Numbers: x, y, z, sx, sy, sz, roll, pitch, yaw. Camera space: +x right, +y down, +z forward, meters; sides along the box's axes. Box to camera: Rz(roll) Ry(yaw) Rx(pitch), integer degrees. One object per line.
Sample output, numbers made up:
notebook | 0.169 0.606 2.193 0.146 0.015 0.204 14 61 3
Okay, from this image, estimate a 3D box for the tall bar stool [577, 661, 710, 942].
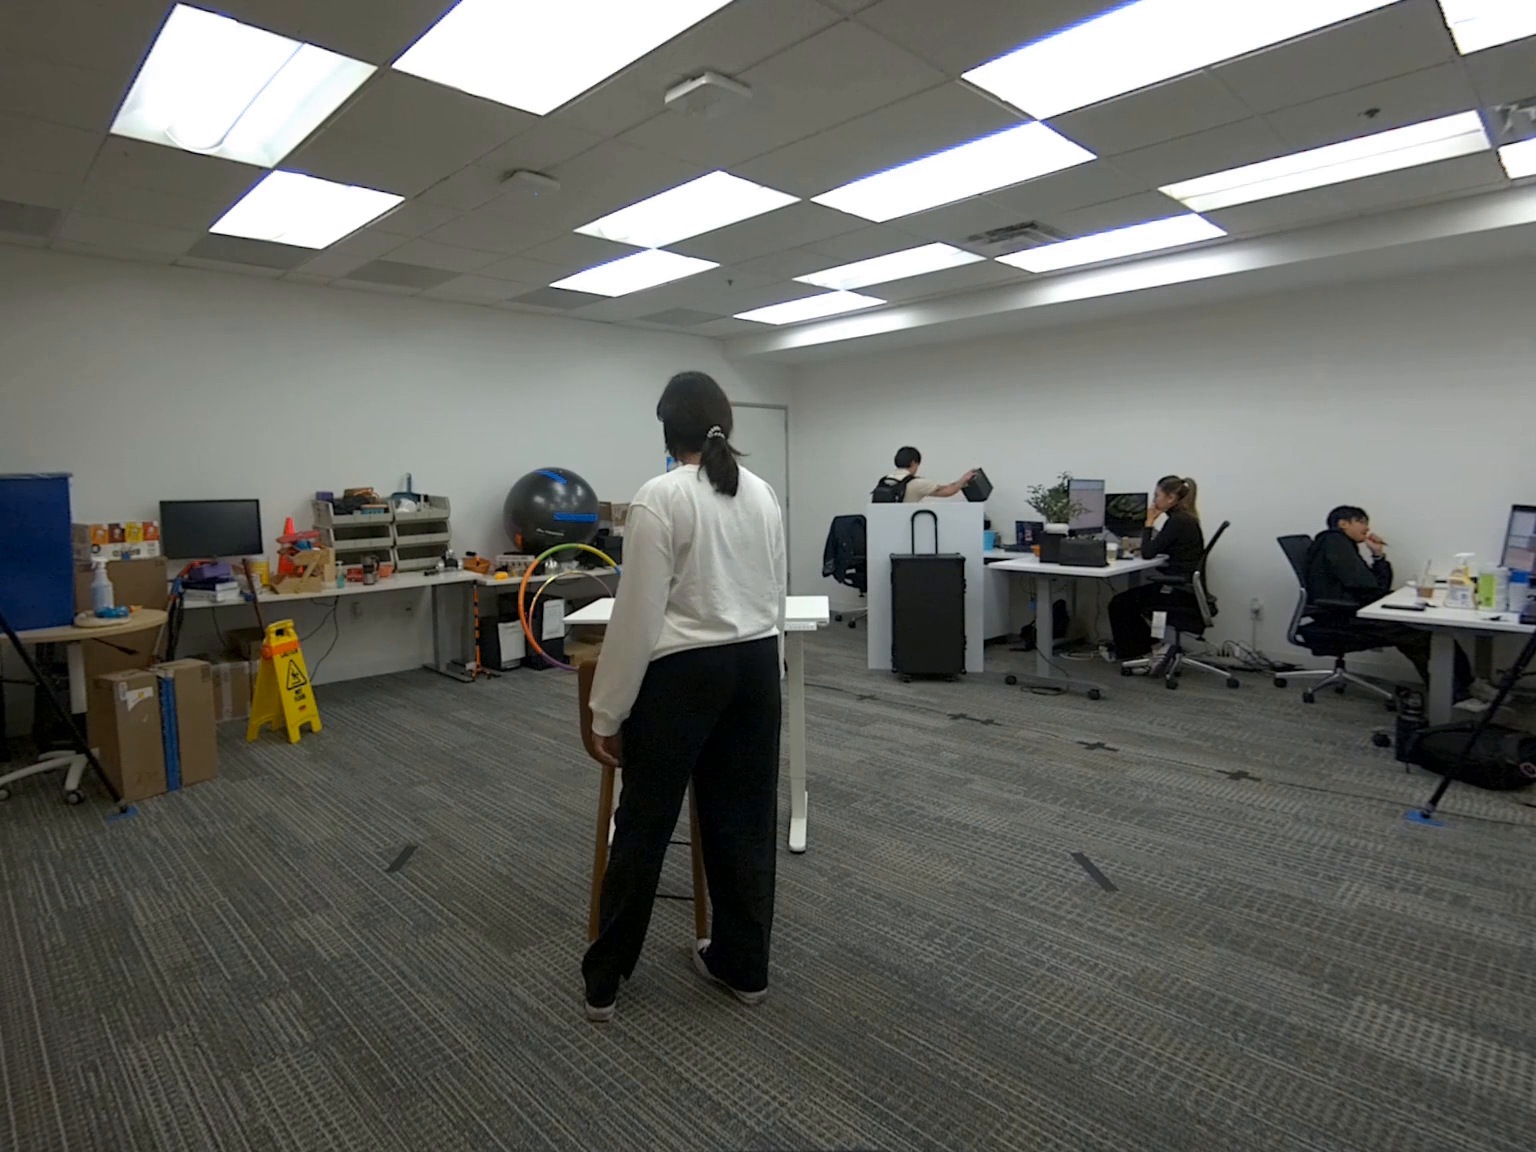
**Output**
tall bar stool | -0.330 0.654 2.748 0.463 0.884 0.464 0 7 13
